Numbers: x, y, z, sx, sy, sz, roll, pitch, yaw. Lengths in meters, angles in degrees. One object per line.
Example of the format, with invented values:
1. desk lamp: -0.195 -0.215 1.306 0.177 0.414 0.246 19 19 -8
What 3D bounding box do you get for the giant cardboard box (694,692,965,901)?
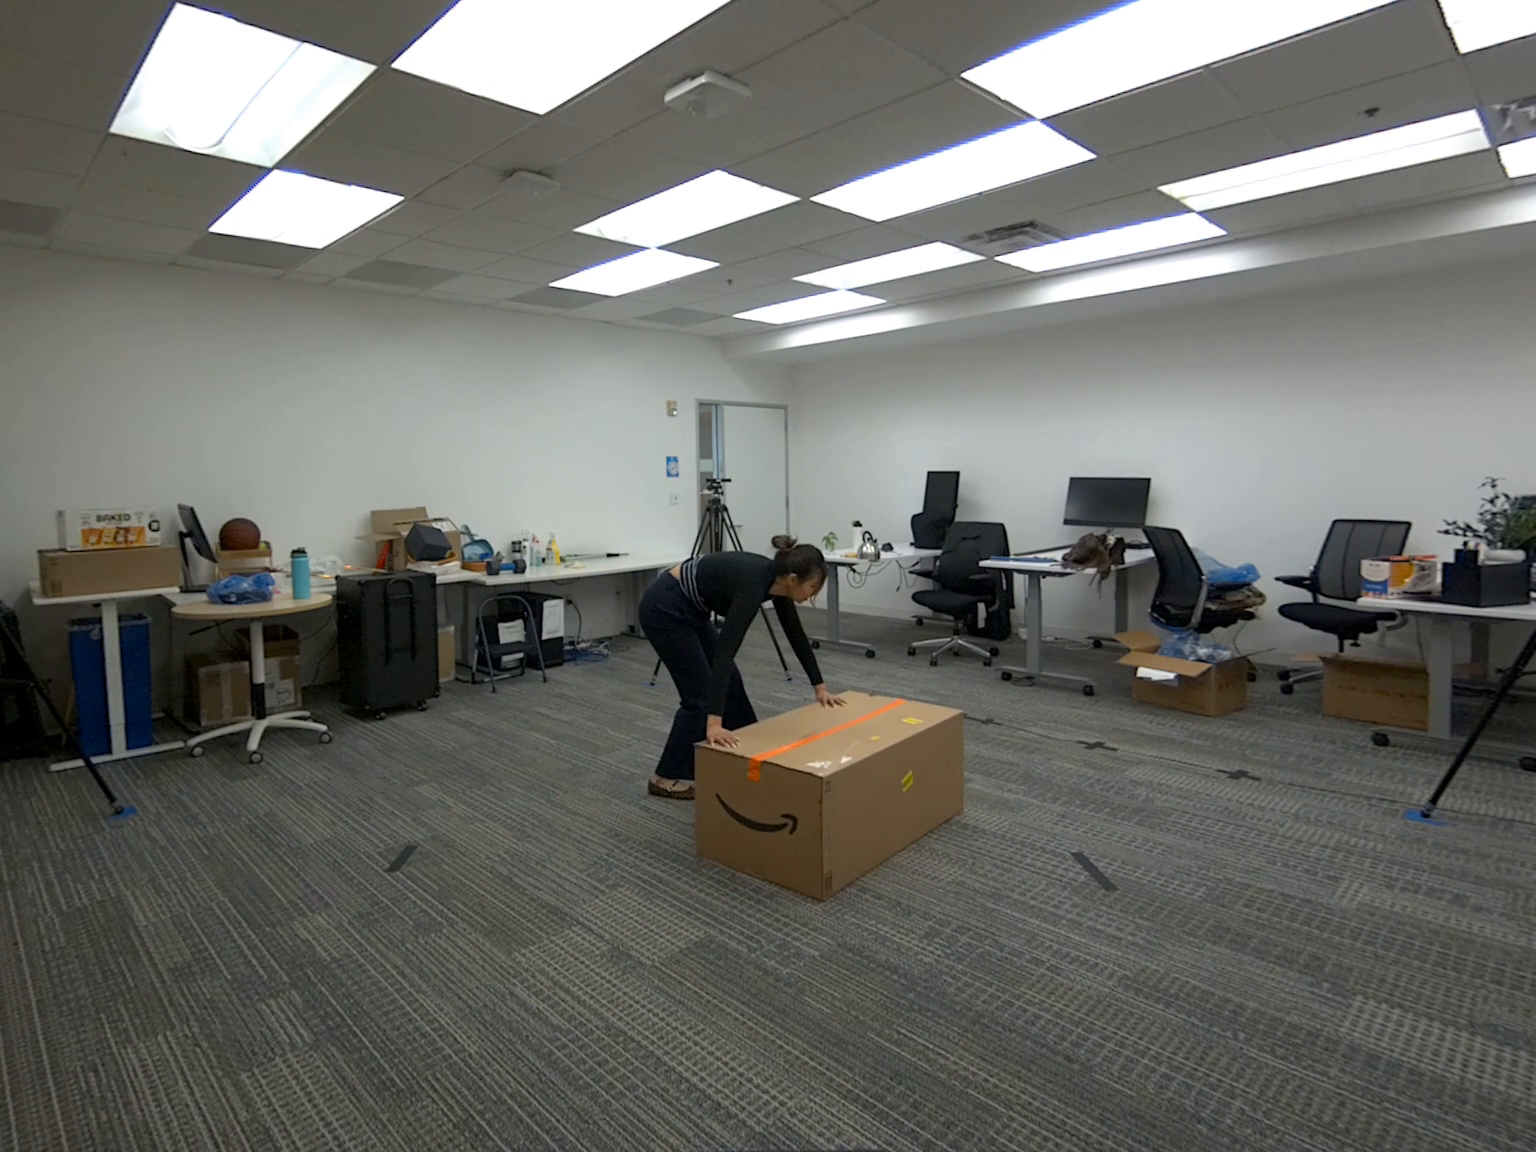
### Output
1. giant cardboard box: 0.274 0.799 3.354 0.595 0.425 0.999 2 6 40
